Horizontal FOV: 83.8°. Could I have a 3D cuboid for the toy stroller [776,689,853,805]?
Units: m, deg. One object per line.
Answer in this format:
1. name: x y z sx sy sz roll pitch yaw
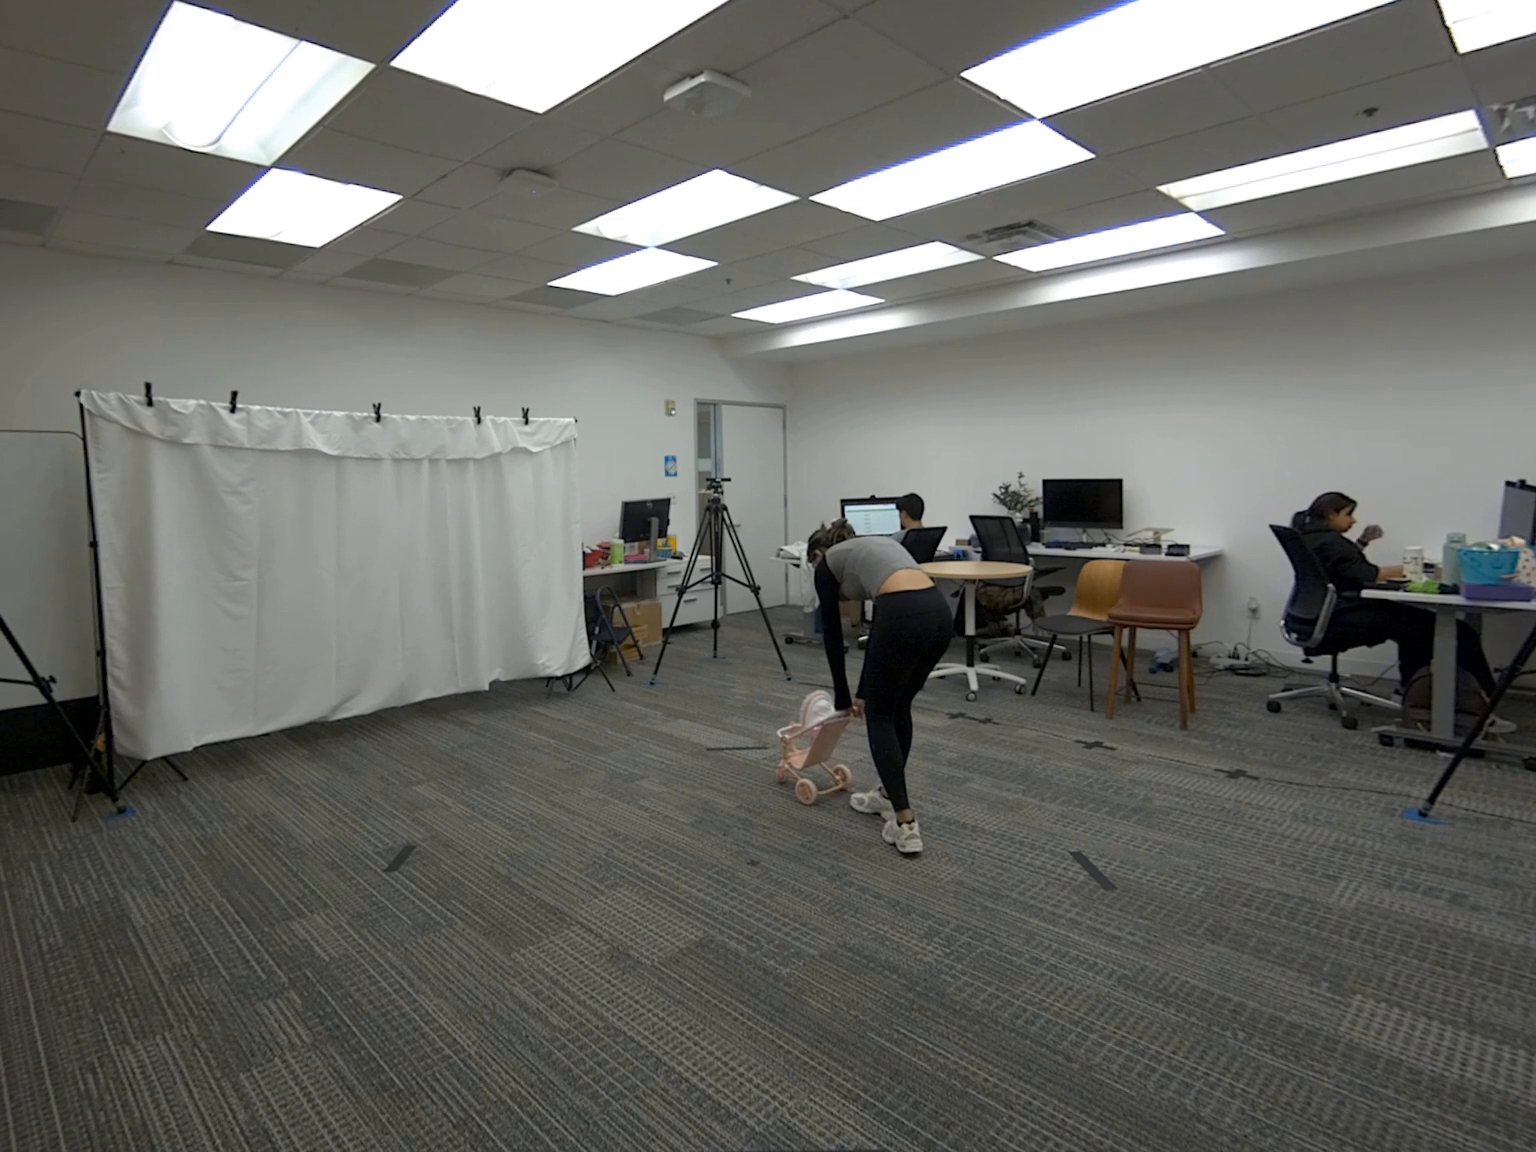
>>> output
1. toy stroller: 0.205 0.737 3.775 0.274 0.529 0.354 -3 22 -42
